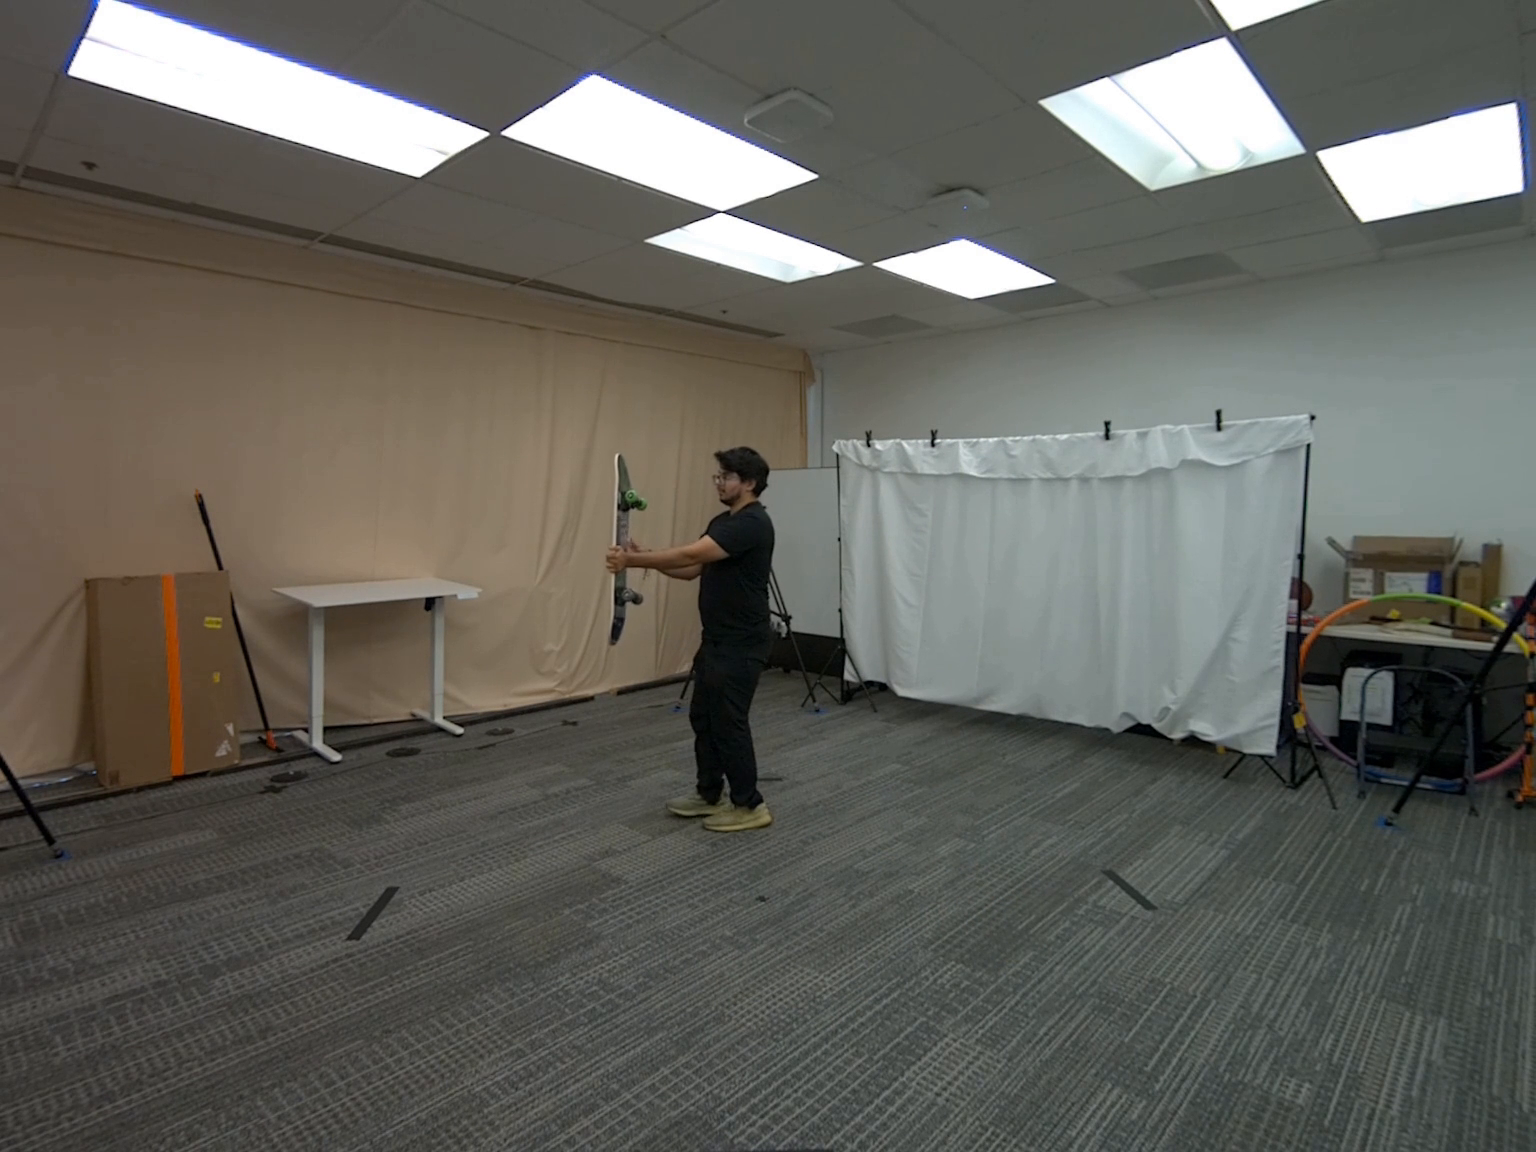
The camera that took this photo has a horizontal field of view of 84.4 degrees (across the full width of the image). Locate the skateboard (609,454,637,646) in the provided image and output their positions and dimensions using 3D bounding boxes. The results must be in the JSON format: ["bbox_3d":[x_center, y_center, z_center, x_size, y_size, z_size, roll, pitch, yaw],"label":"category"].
[{"bbox_3d":[-0.572,-0.104,3.441,0.112,0.789,0.190,0,-8,10],"label":"skateboard"}]
